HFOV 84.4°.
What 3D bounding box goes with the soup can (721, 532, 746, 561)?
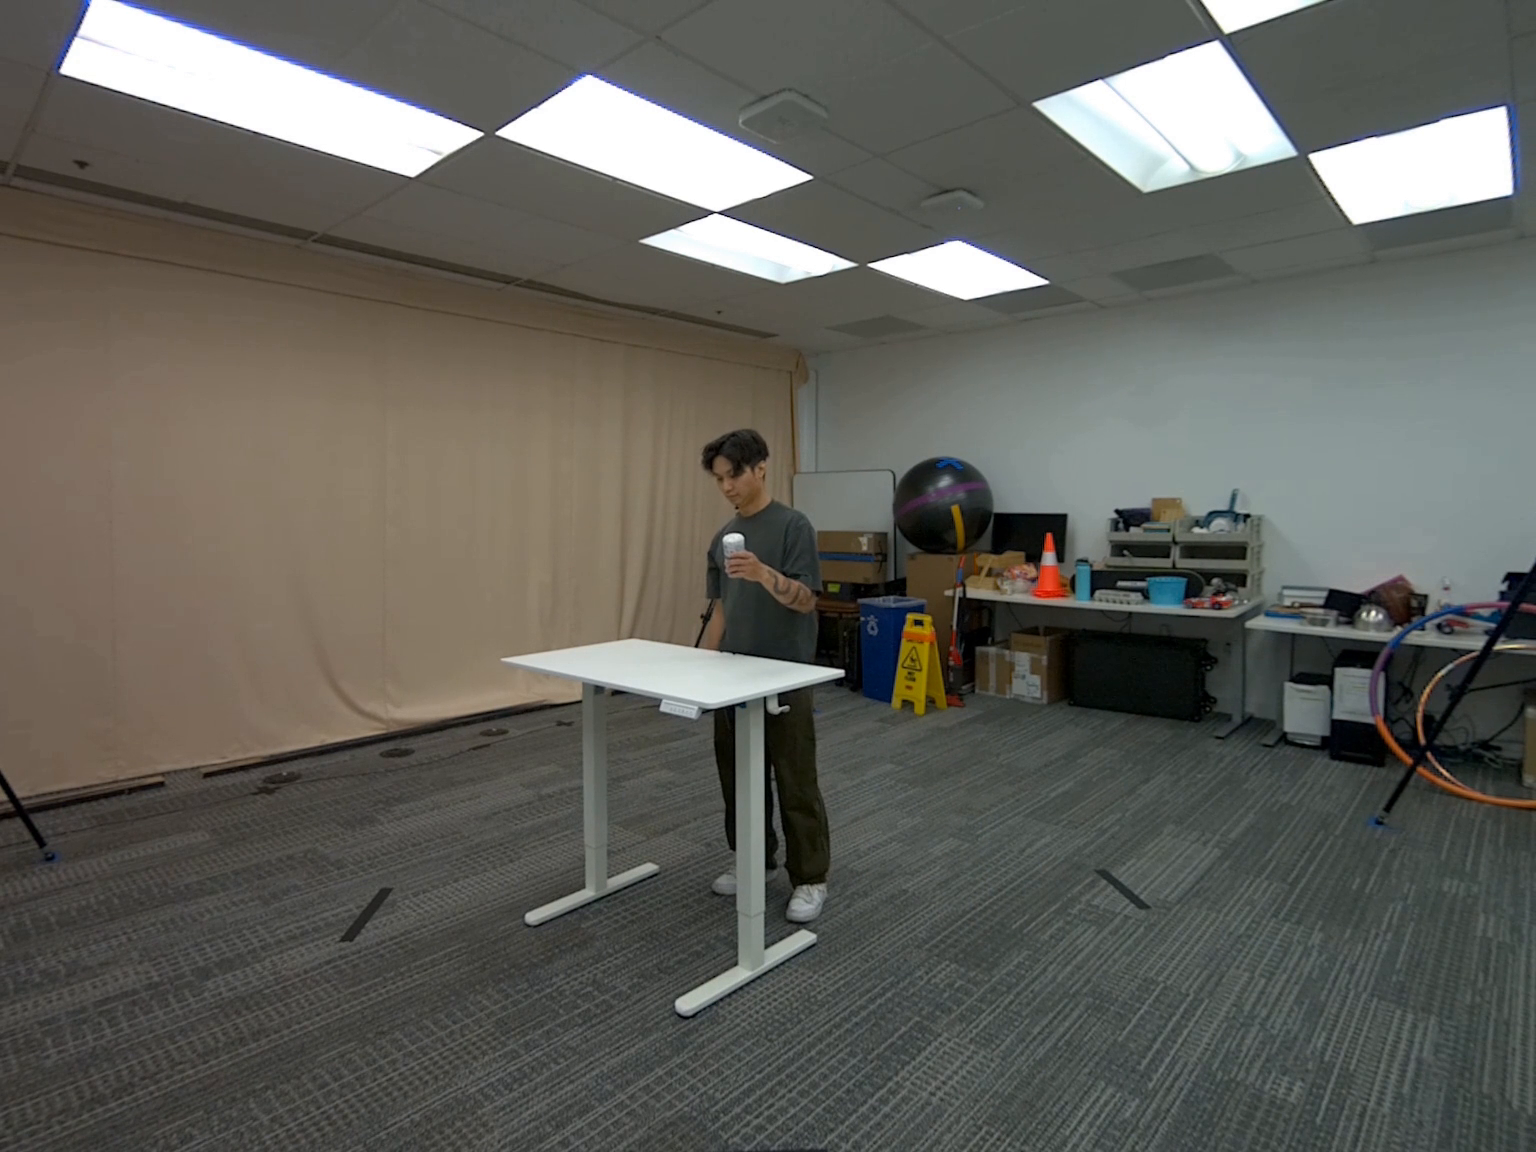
[{"bbox_3d":[-0.100,-0.064,2.666,0.067,0.120,0.068,-2,24,-1],"label":"soup can"}]
